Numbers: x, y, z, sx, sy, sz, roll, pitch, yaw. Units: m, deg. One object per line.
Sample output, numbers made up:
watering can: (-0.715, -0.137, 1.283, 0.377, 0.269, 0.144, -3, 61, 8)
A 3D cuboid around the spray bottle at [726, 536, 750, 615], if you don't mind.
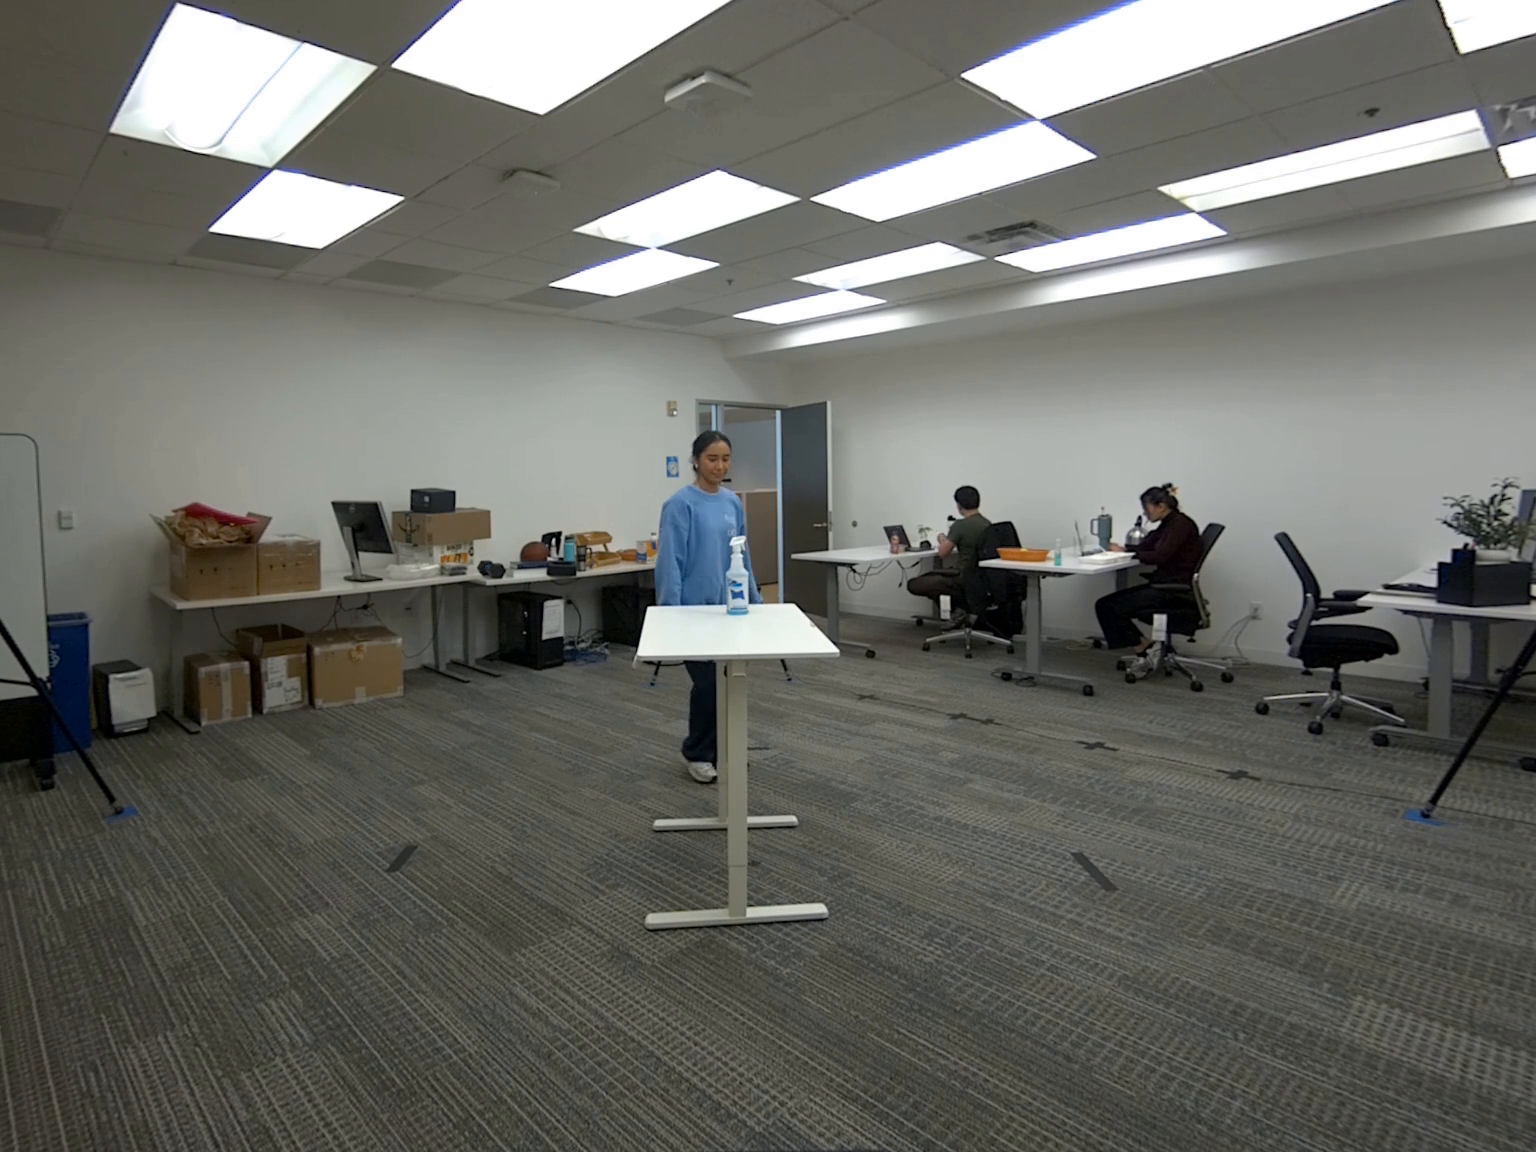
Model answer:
spray bottle: (-0.120, 0.000, 3.284, 0.088, 0.297, 0.089, 0, 2, -27)
